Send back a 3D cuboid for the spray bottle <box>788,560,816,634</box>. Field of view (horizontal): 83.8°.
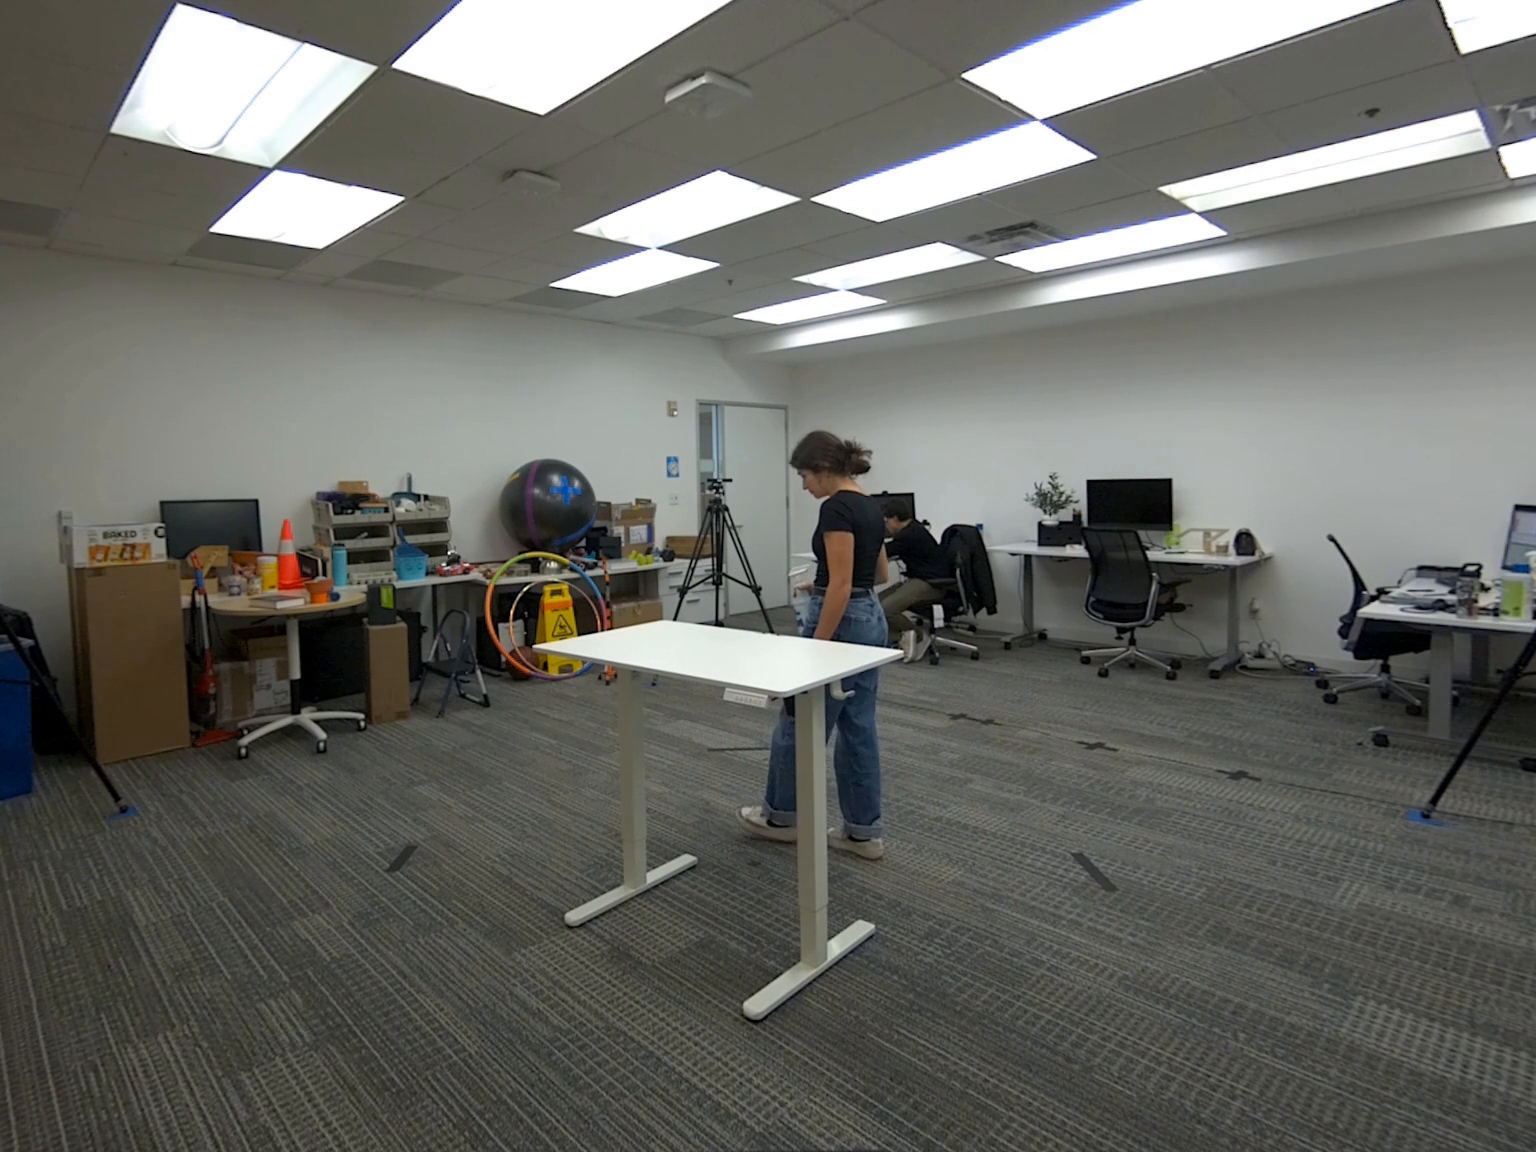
[{"bbox_3d":[0.148,0.109,3.385,0.092,0.297,0.085,-8,2,31],"label":"spray bottle"}]
